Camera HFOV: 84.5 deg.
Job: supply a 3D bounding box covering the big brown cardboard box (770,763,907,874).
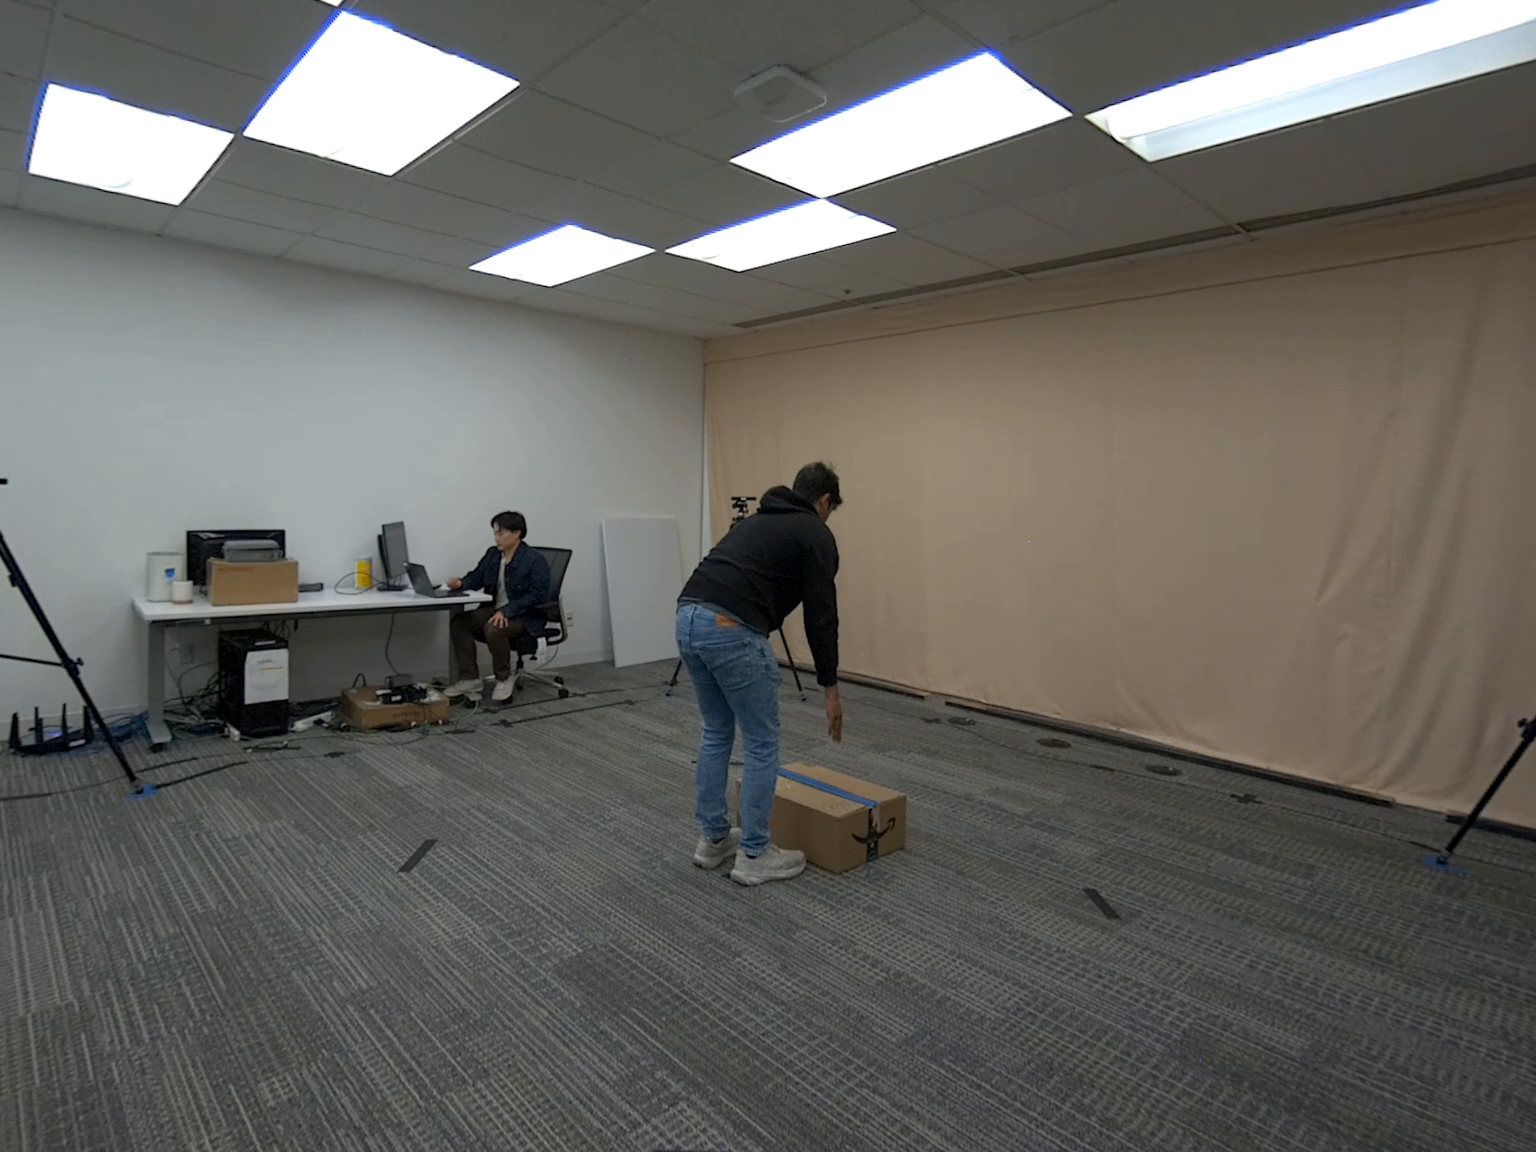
[{"bbox_3d":[0.199,0.973,3.473,0.408,0.232,0.604,-3,7,-44],"label":"big brown cardboard box"}]
